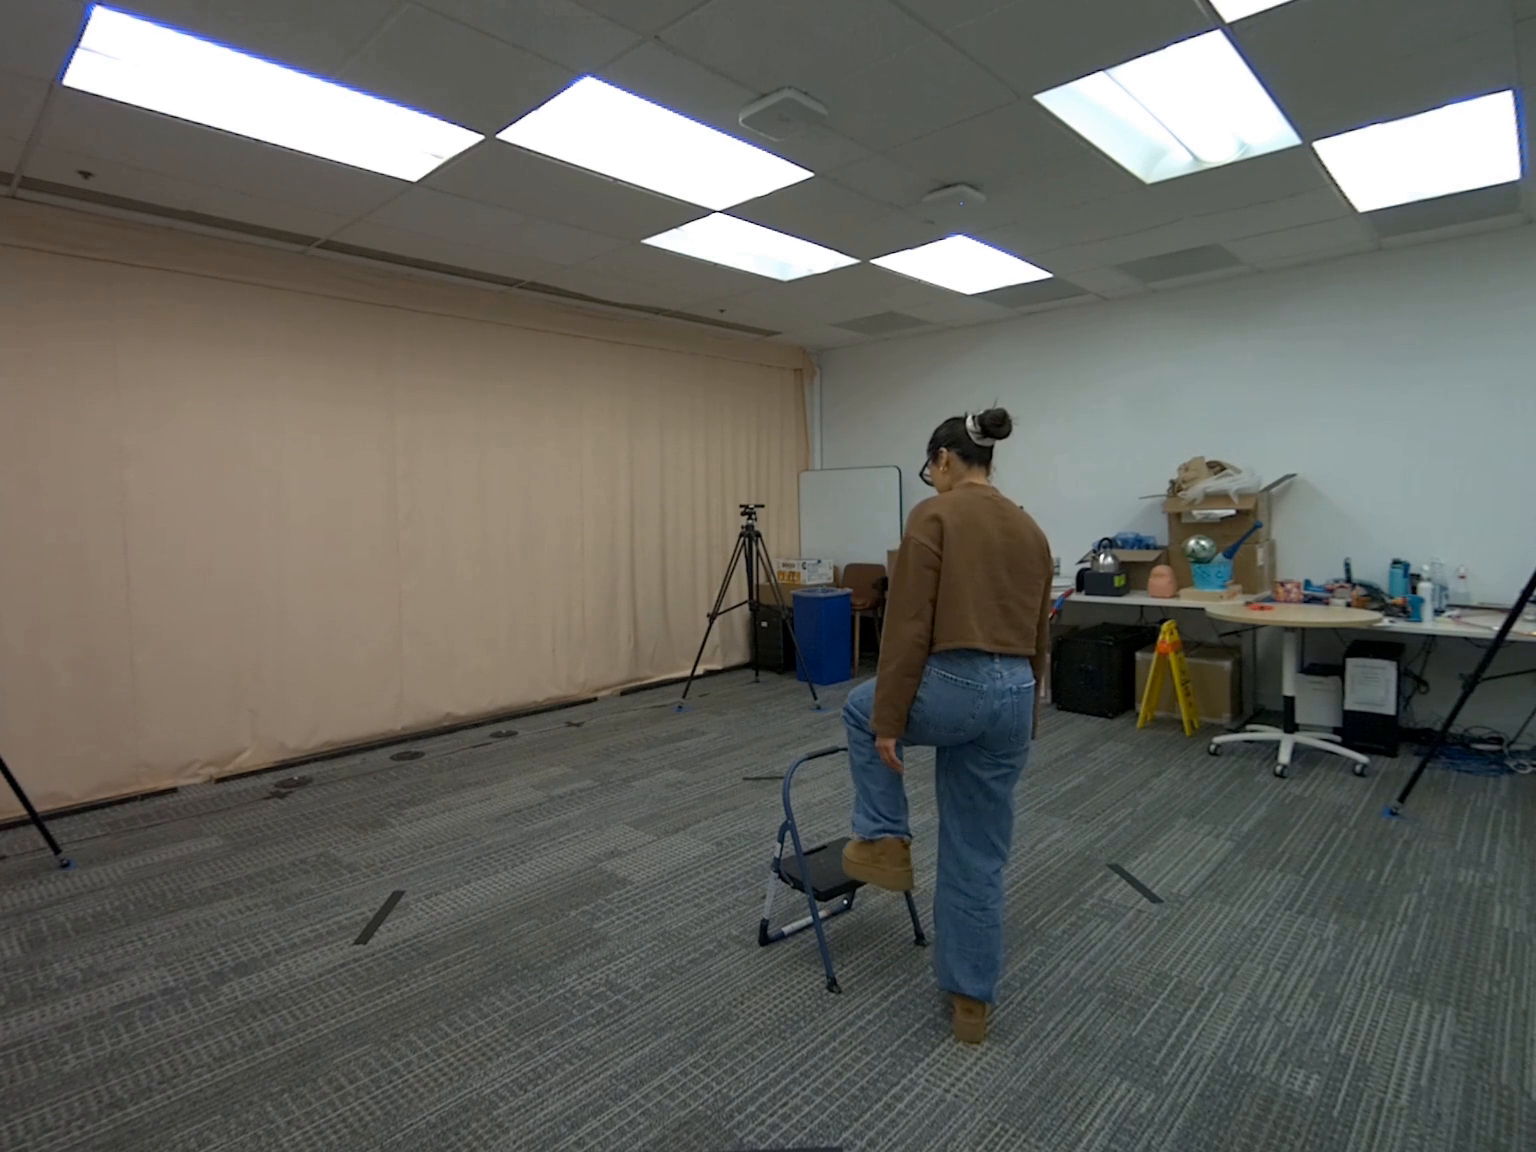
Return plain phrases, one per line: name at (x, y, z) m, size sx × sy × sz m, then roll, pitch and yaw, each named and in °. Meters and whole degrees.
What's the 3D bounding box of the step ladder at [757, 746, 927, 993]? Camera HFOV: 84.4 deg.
step ladder at (0.233, 0.861, 2.639) m, size 0.418 × 0.605 × 0.361 m, roll -4°, pitch 4°, yaw -40°
